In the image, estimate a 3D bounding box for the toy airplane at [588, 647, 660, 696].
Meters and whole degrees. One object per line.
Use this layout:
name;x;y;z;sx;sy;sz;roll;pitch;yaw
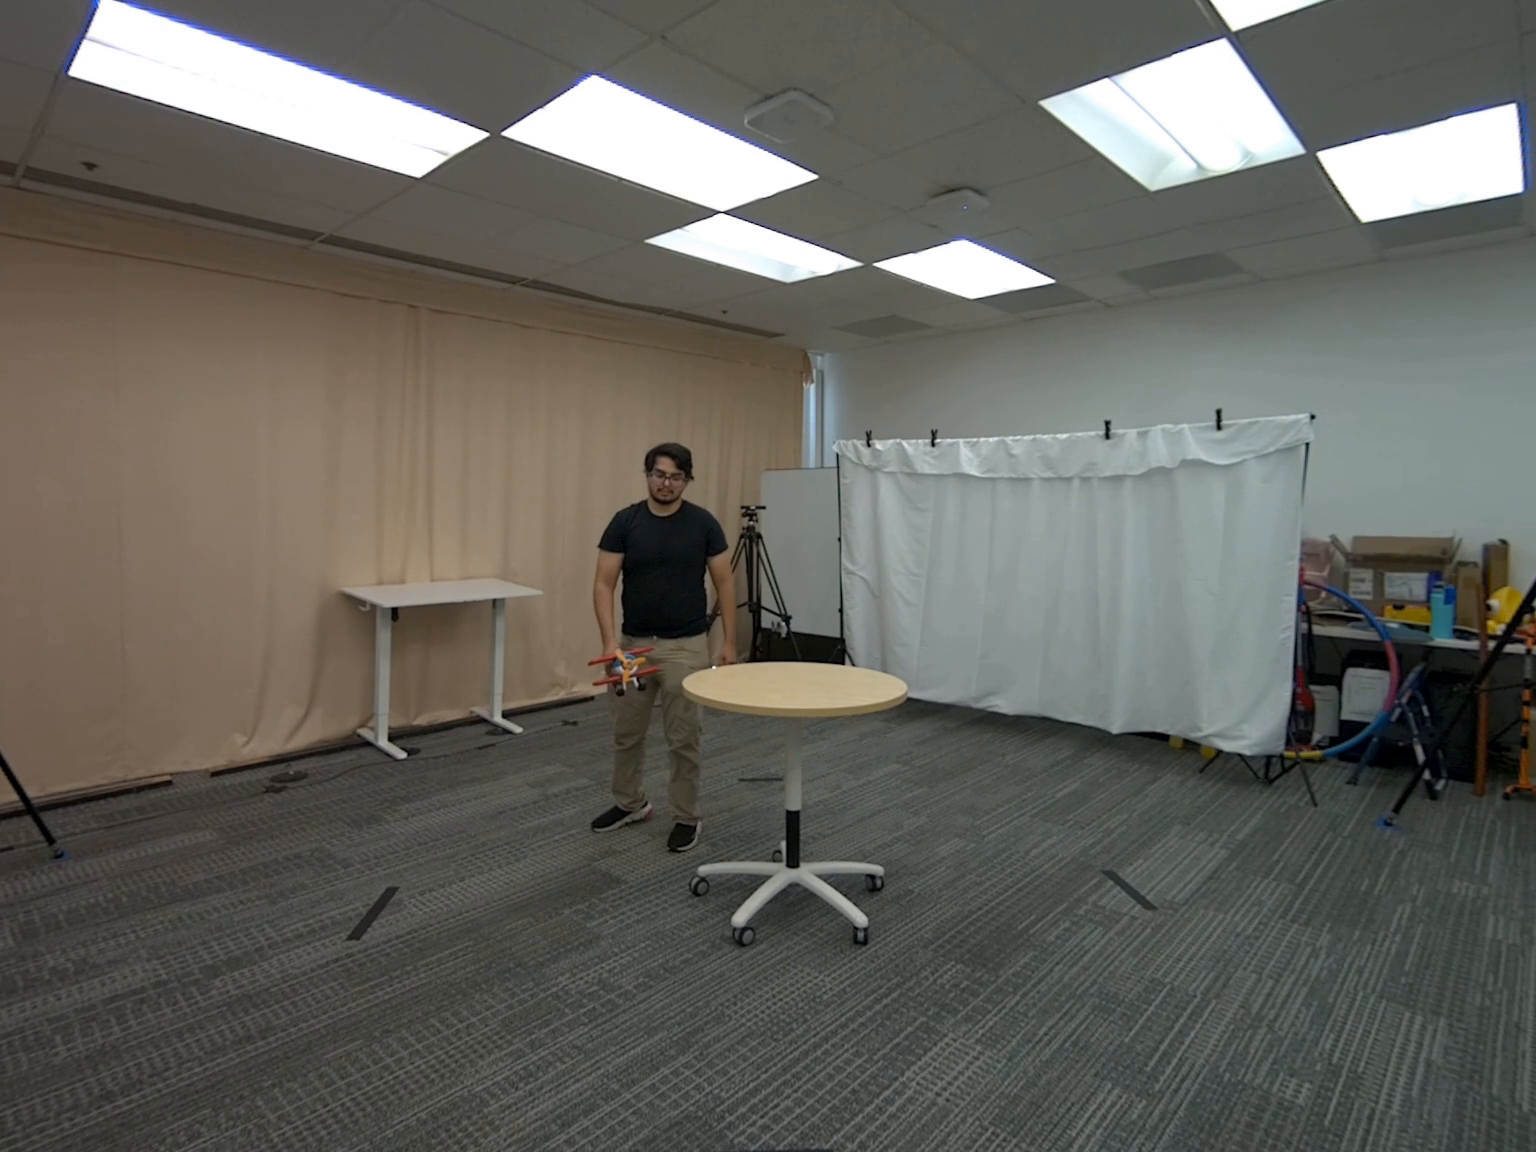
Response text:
toy airplane;-0.570;0.359;3.183;0.267;0.155;0.245;-1;12;43
